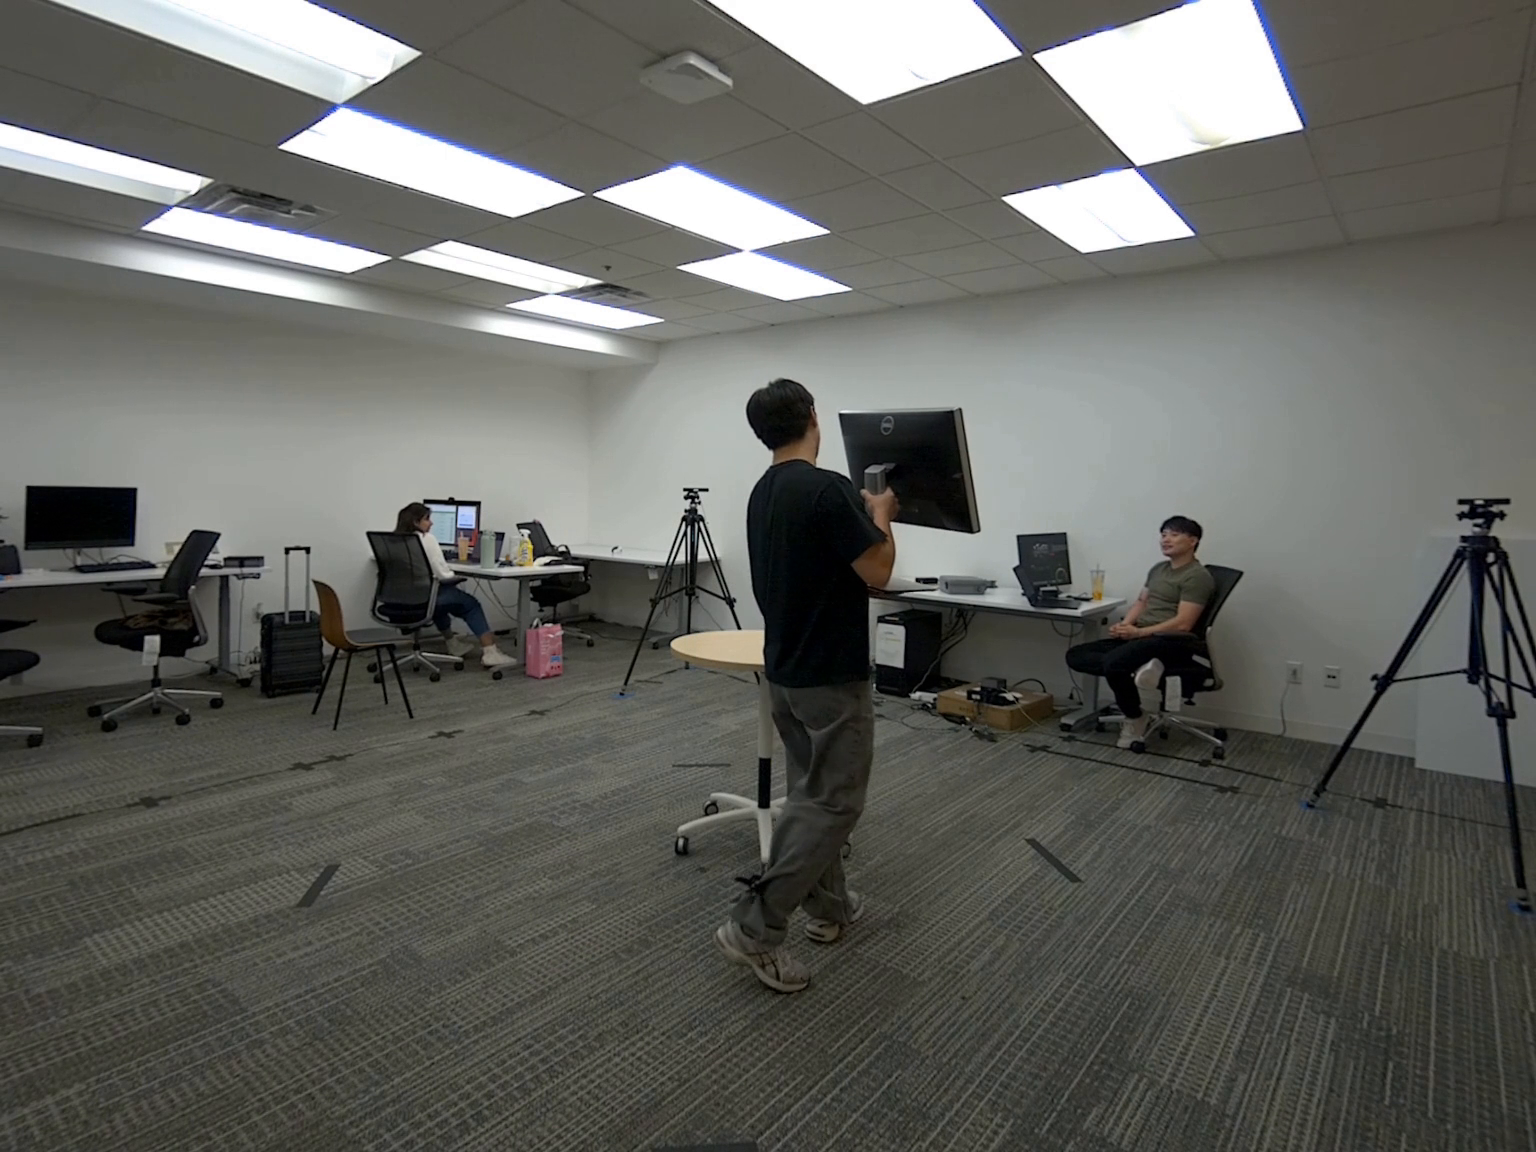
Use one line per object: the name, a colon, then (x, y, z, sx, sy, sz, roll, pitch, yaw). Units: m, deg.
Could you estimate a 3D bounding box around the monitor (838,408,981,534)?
monitor: (0.383, -0.228, 2.610, 0.217, 0.562, 0.579, -1, 8, -27)
